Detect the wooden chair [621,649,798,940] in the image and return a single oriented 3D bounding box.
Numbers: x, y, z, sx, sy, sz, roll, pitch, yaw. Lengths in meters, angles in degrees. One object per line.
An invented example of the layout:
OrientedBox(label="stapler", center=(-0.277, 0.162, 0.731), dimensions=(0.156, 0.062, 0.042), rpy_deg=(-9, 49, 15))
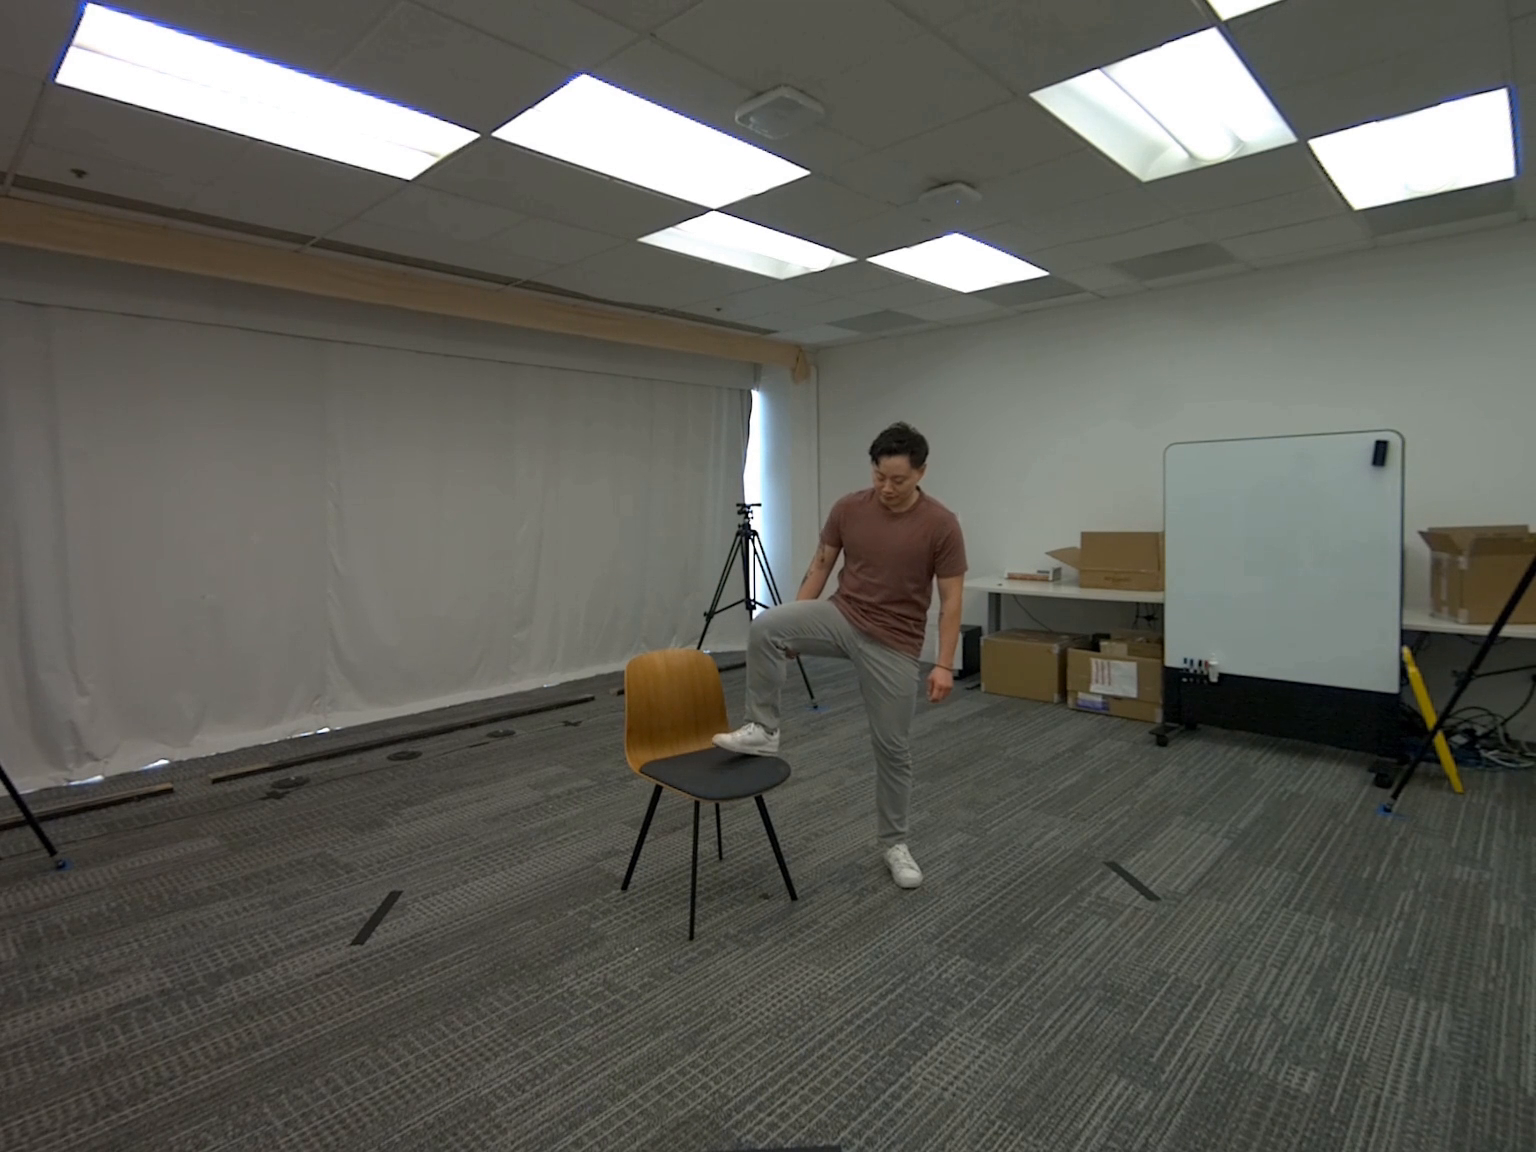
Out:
OrientedBox(label="wooden chair", center=(-0.214, 0.716, 2.962), dimensions=(0.464, 0.877, 0.539), rpy_deg=(-3, 0, -38))
